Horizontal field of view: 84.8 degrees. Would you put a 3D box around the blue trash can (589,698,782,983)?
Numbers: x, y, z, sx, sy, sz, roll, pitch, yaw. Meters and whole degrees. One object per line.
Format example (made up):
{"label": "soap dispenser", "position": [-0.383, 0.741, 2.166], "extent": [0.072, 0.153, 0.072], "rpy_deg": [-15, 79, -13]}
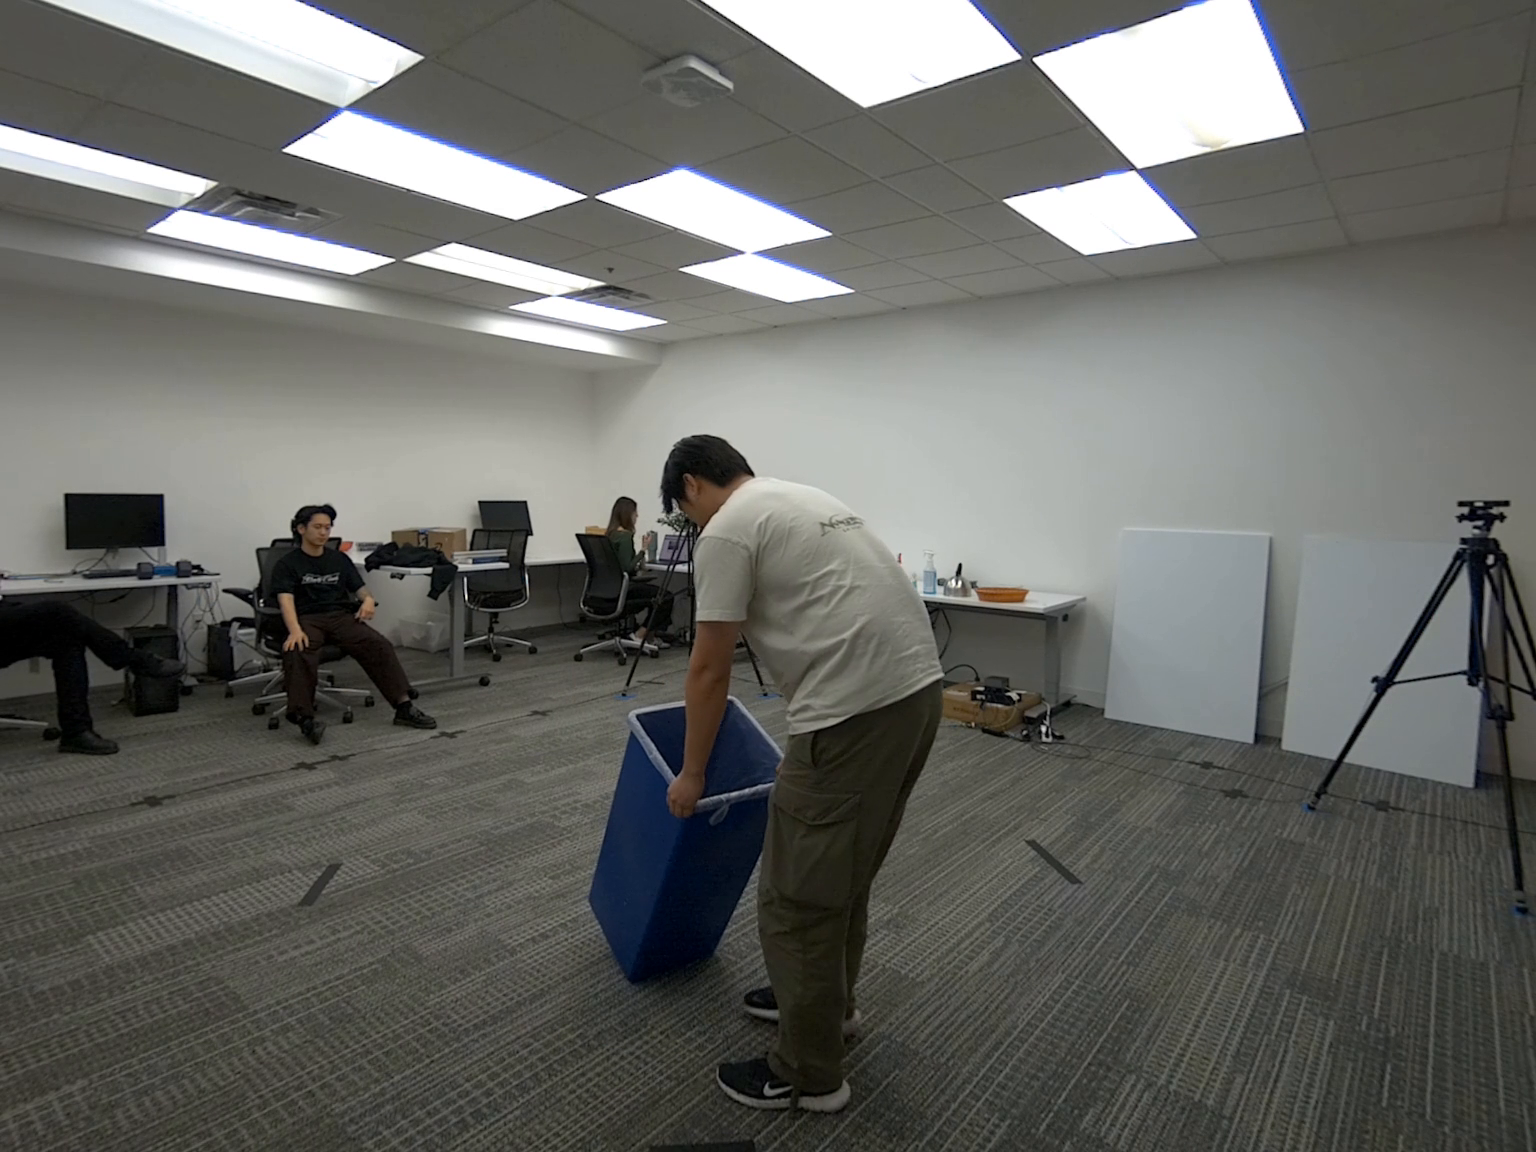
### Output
{"label": "blue trash can", "position": [-0.264, 0.749, 2.427], "extent": [0.367, 0.704, 0.390], "rpy_deg": [-2, 34, -39]}
